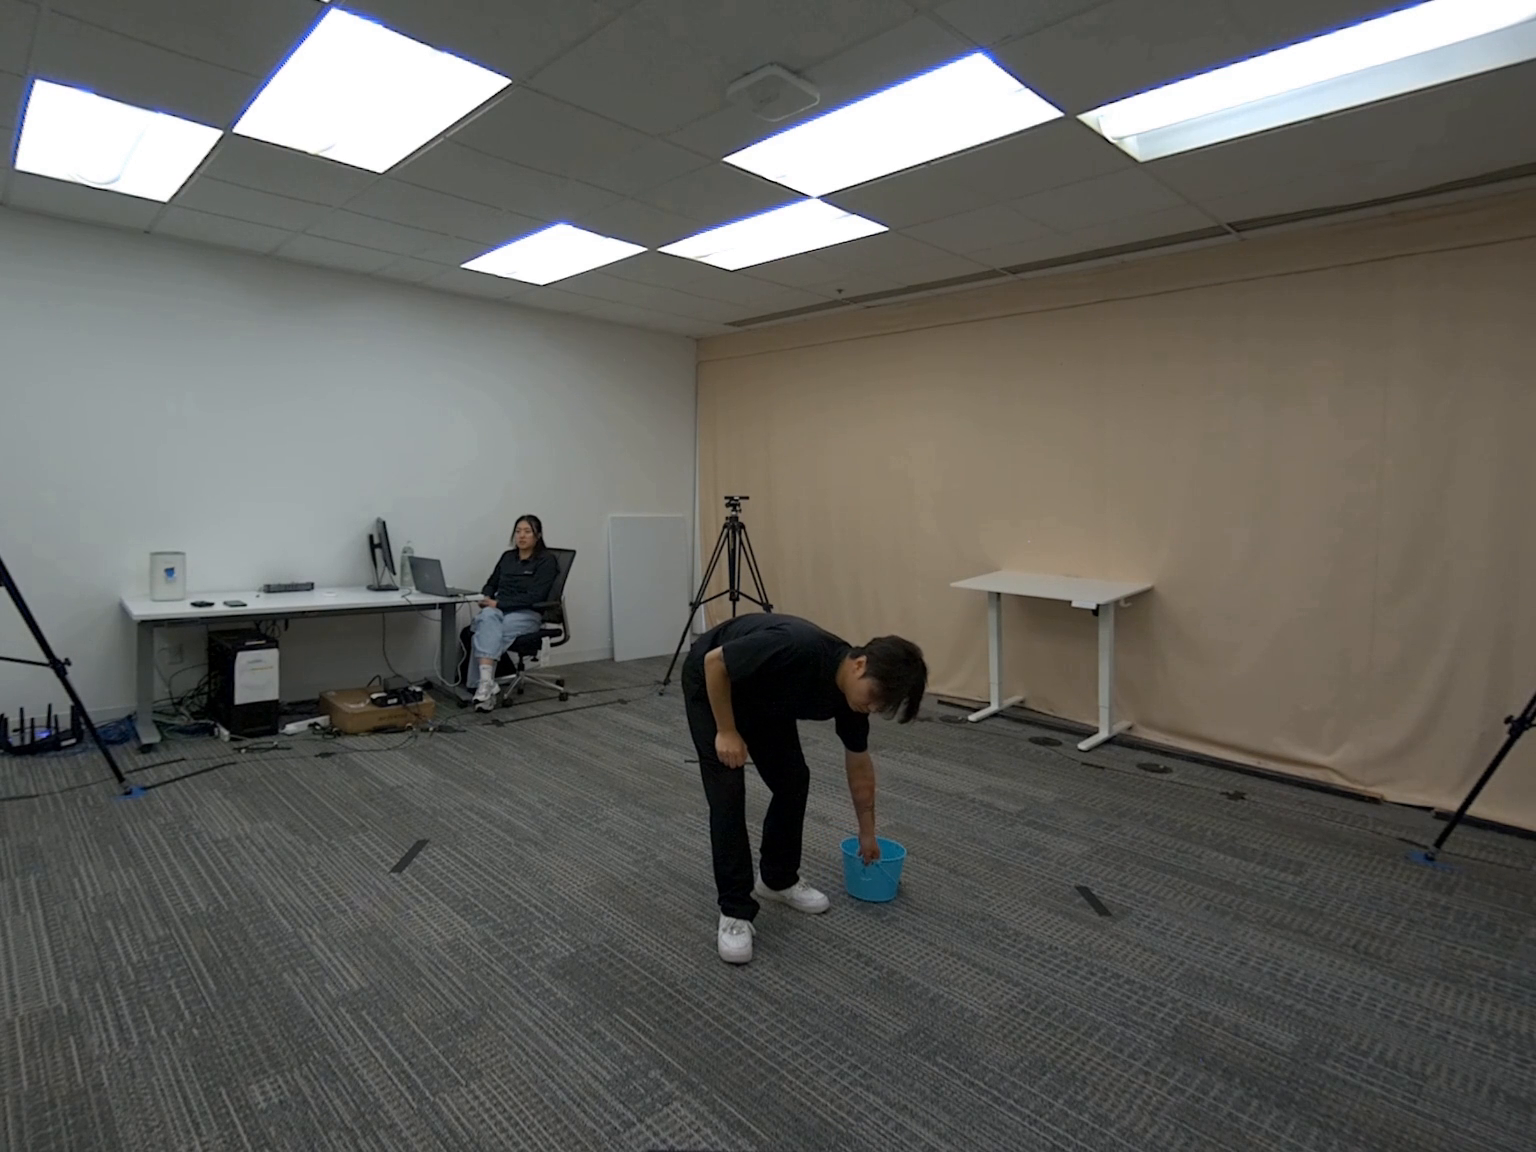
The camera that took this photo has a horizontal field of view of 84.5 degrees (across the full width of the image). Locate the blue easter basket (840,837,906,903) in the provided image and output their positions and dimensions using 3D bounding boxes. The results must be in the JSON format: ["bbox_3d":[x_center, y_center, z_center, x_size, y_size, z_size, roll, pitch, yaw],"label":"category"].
[{"bbox_3d":[0.359,1.045,3.002,0.243,0.156,0.244,1,2,-1],"label":"blue easter basket"}]
